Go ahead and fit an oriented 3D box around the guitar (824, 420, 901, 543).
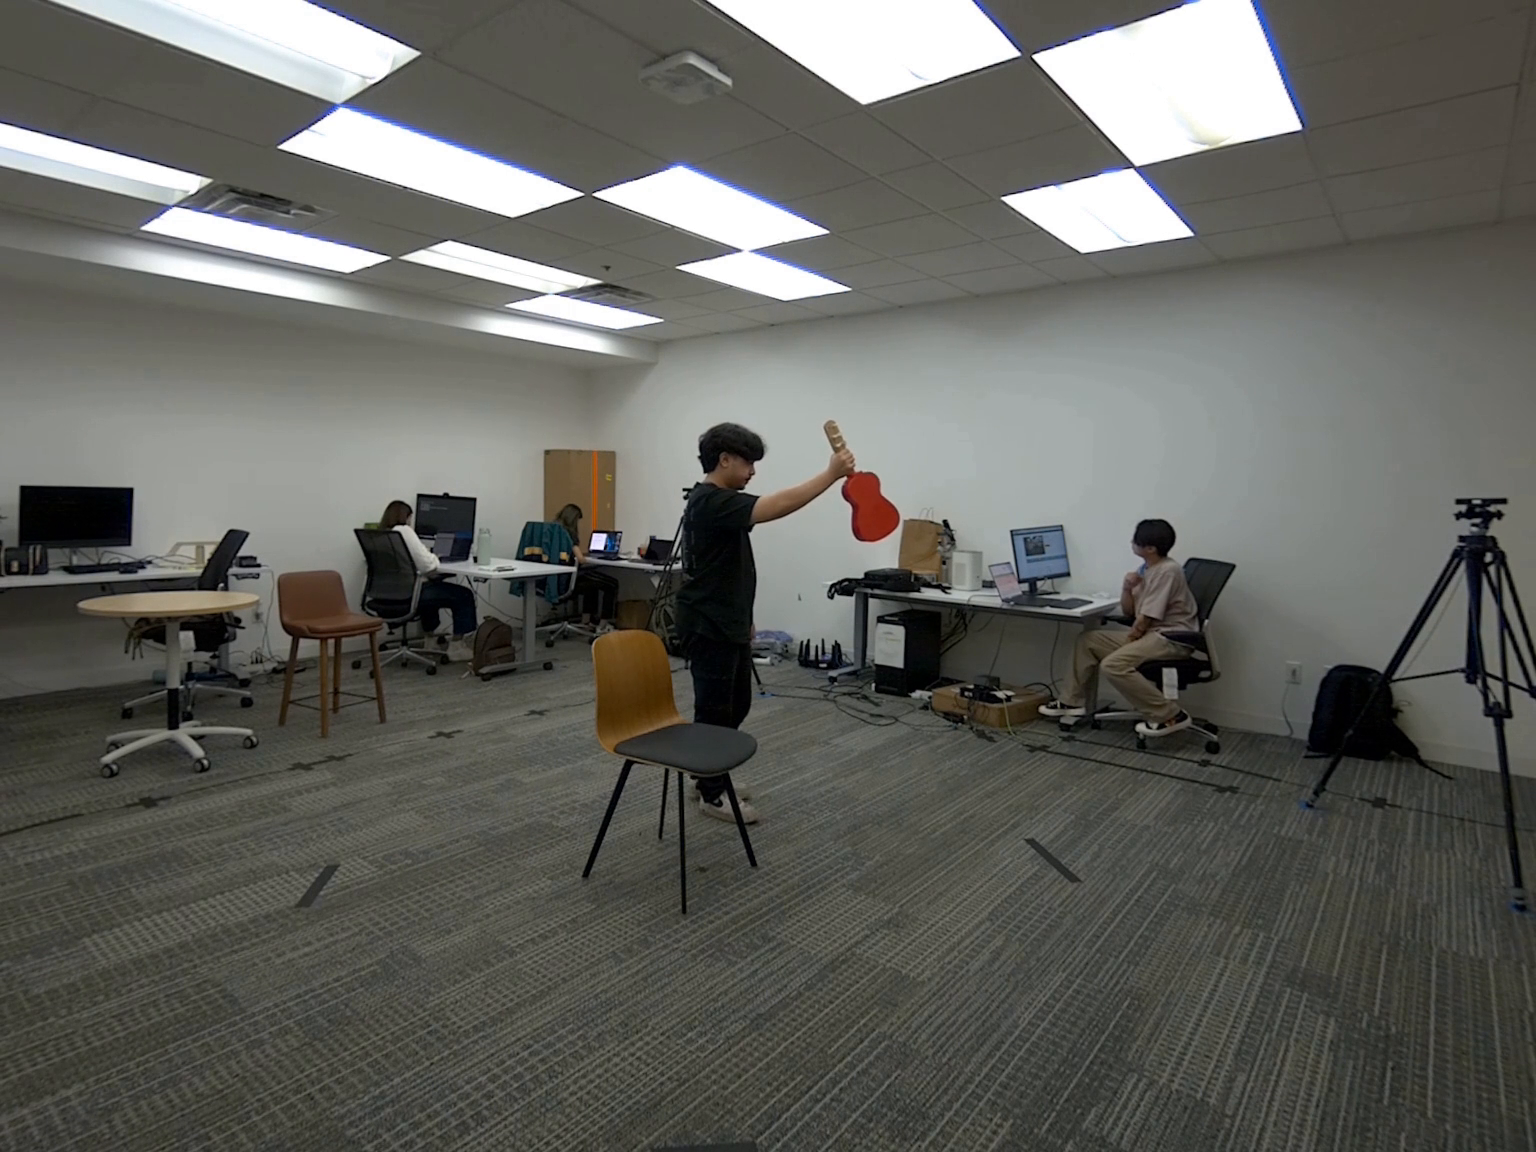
[{"bbox_3d":[0.314,-0.362,3.301,0.192,0.490,0.072,-36,11,-16],"label":"guitar"}]
